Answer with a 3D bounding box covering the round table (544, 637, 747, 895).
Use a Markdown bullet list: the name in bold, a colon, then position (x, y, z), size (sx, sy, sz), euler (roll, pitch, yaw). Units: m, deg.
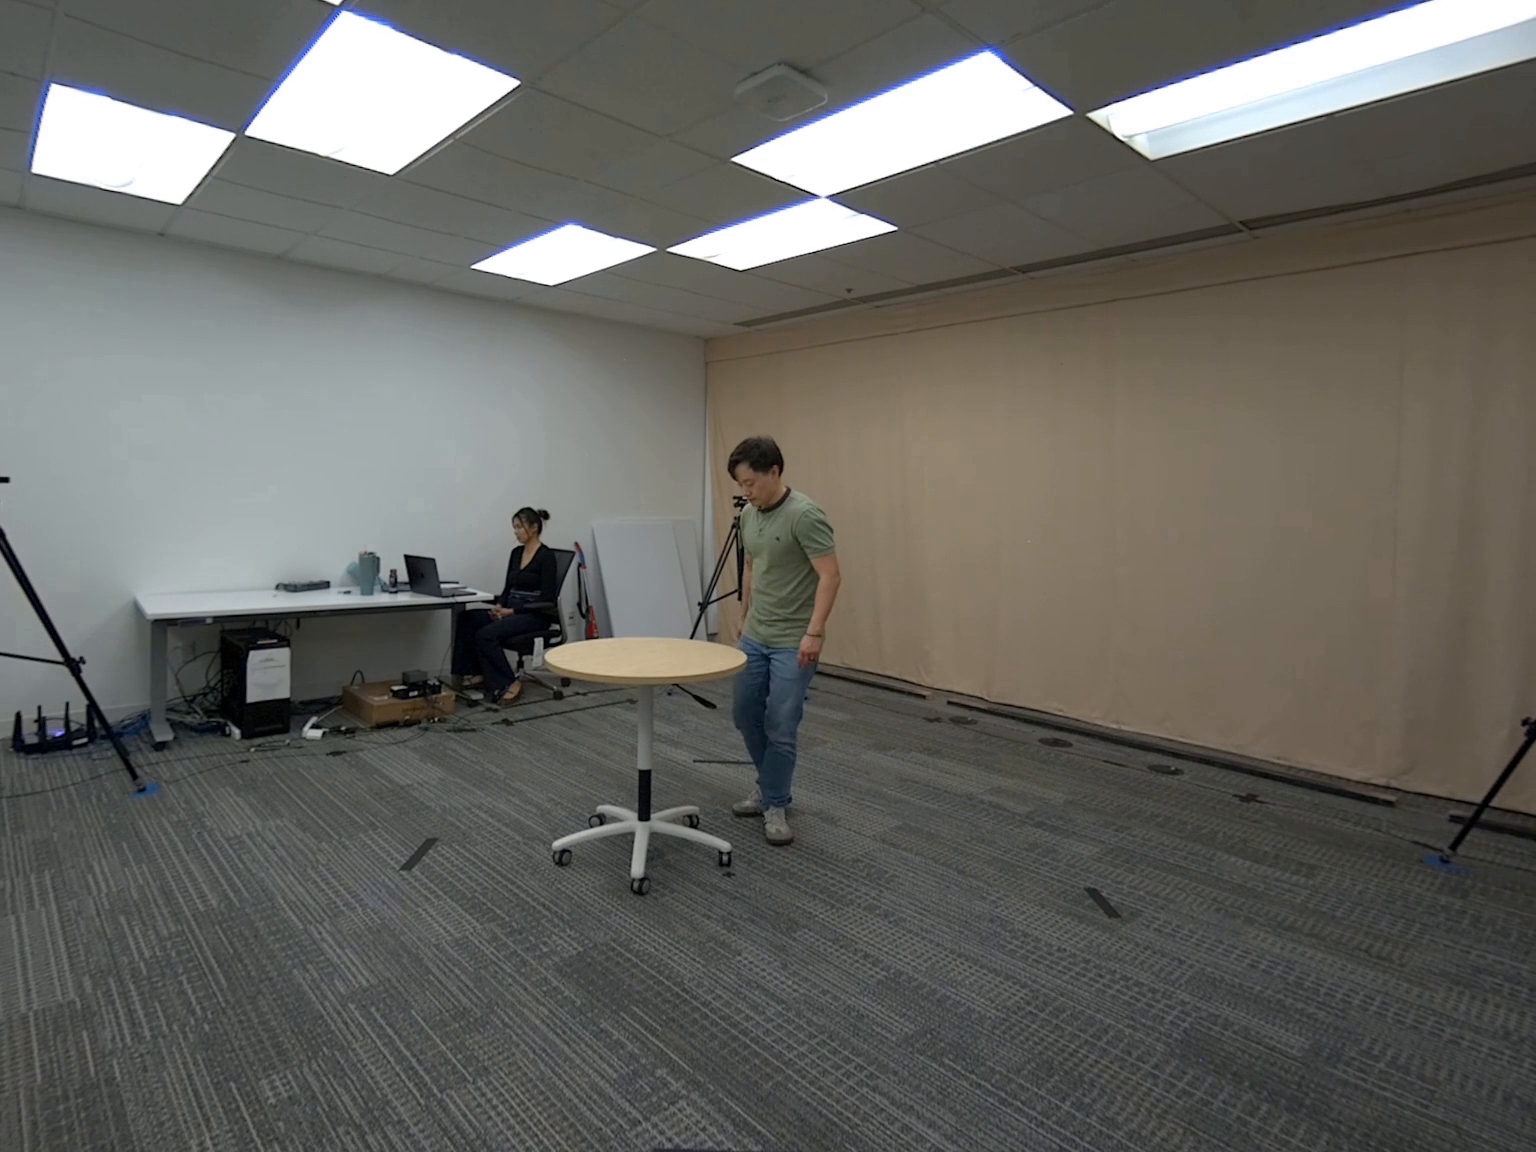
- **round table**: position (-0.485, 0.695, 3.238), size (0.763, 0.792, 0.767), euler (1, 4, -1)
